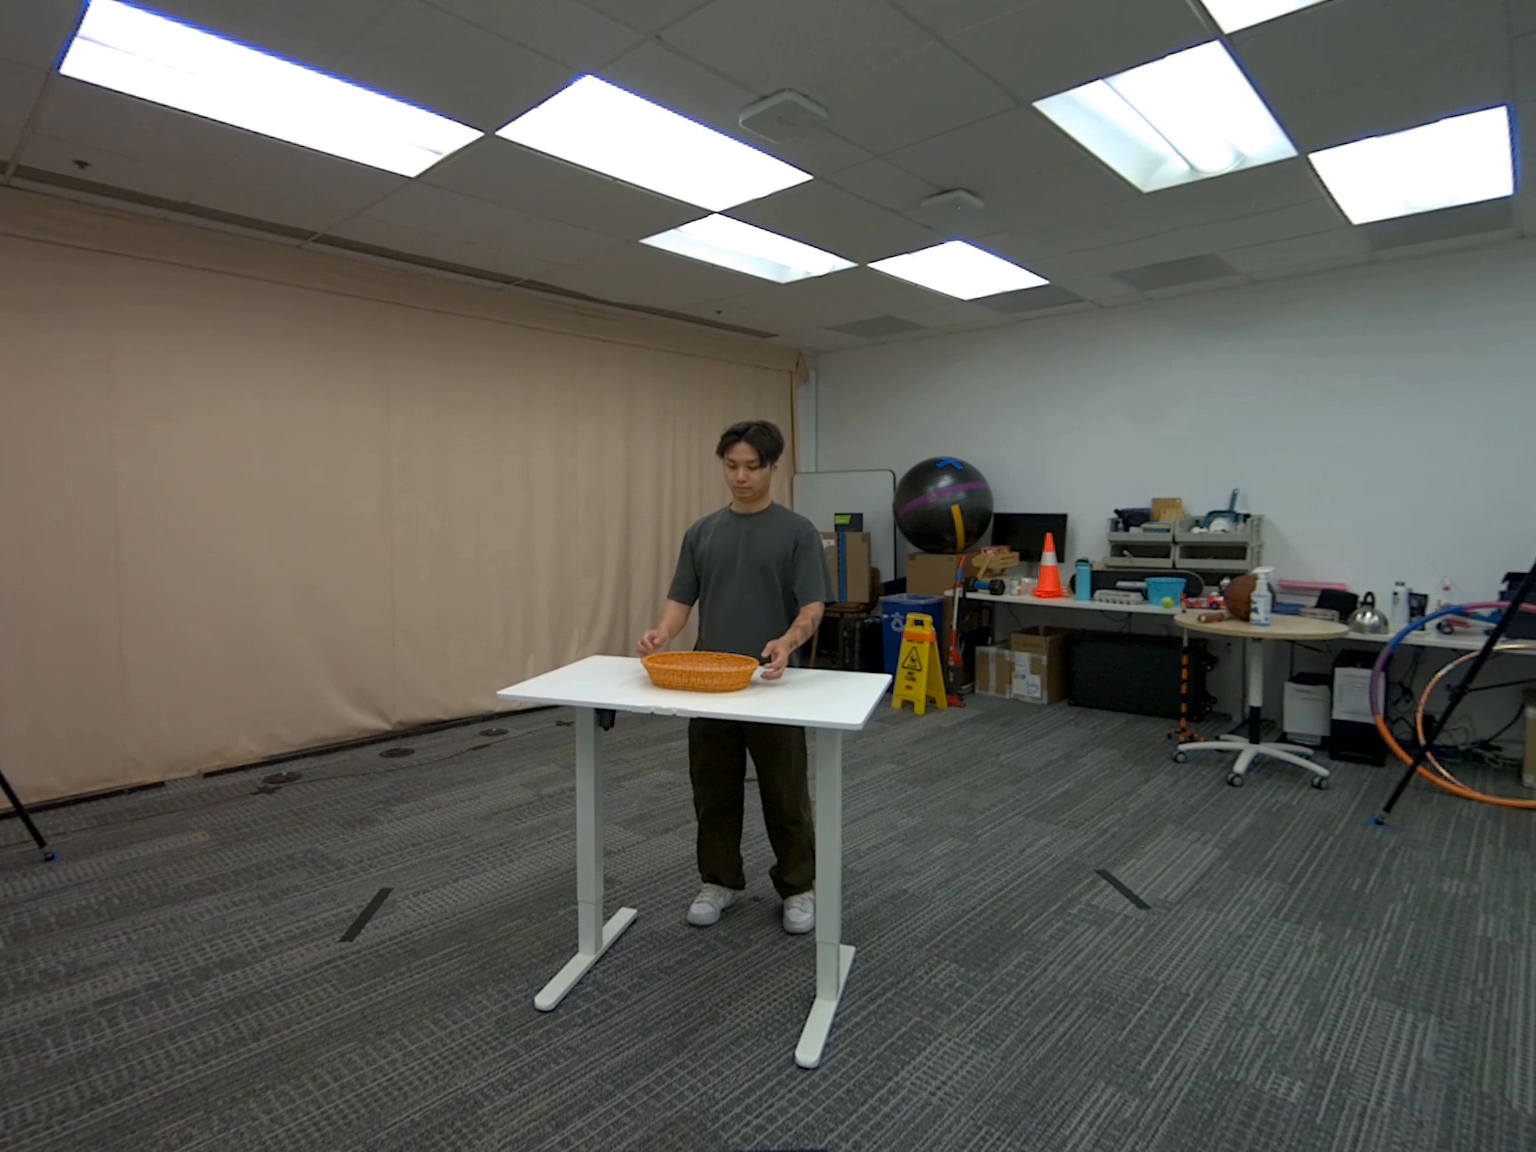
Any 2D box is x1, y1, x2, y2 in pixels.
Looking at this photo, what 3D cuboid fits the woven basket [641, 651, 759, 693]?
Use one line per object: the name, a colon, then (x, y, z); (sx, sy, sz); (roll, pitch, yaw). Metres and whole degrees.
woven basket: (-0.198, 0.276, 2.422); (0.358, 0.073, 0.248); (2, 6, 20)
